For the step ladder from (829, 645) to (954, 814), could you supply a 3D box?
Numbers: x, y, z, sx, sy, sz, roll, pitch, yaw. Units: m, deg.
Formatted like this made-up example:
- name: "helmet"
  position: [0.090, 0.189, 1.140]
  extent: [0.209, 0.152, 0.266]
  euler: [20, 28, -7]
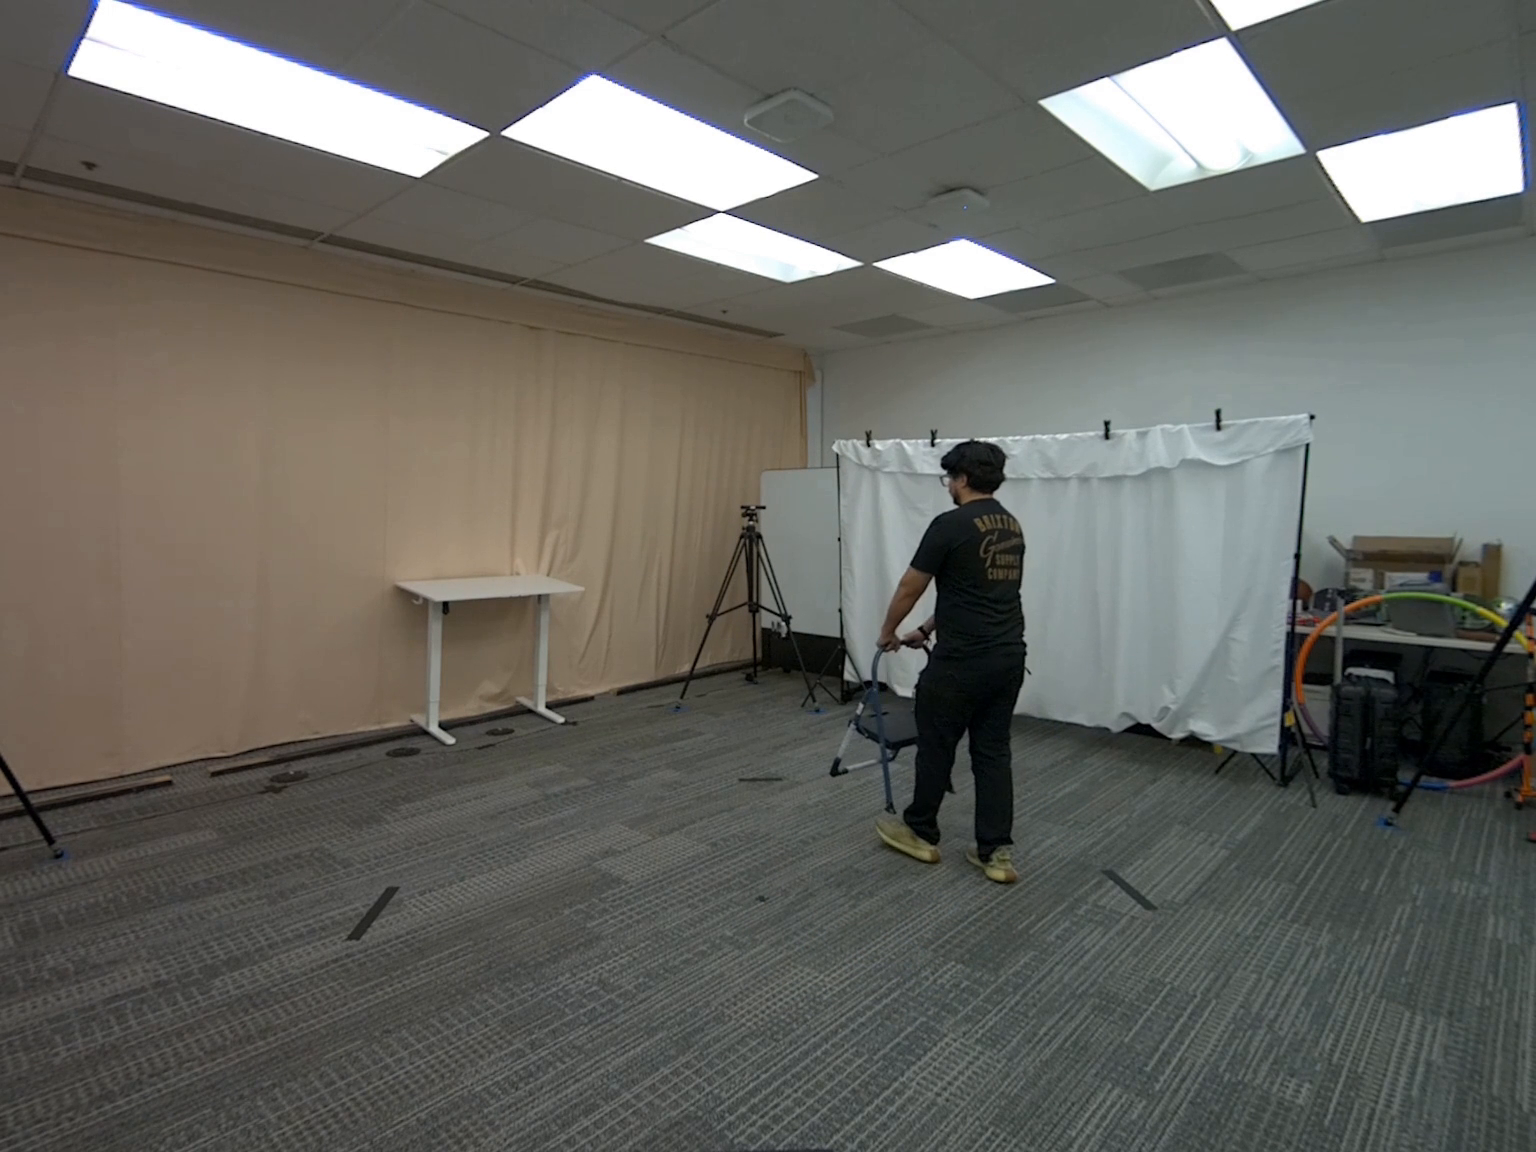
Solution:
- name: "step ladder"
  position: [0.565, 0.586, 3.483]
  extent: [0.417, 0.603, 0.362]
  euler: [-2, 14, -42]
